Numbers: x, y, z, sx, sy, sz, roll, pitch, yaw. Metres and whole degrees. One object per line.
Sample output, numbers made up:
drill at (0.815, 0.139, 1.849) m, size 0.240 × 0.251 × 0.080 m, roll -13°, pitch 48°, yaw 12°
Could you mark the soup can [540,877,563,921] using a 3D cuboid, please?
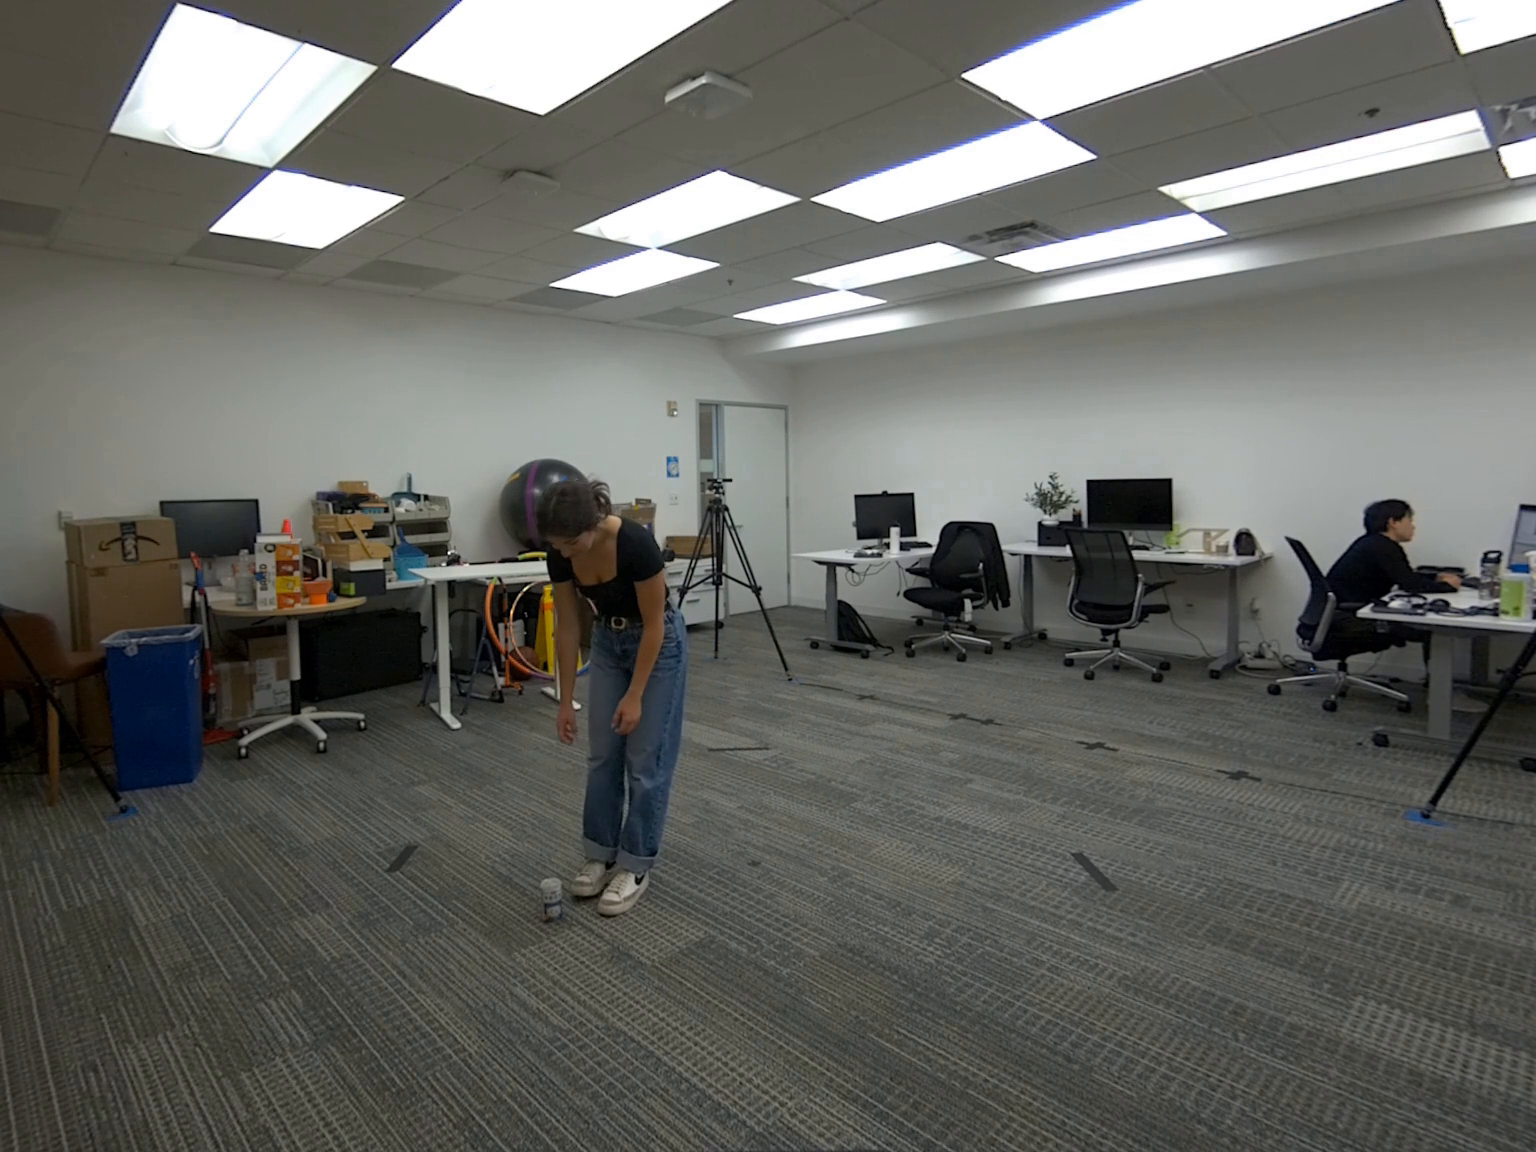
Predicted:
soup can at (-0.695, 1.044, 2.735) m, size 0.067 × 0.121 × 0.067 m, roll -2°, pitch 5°, yaw -1°
